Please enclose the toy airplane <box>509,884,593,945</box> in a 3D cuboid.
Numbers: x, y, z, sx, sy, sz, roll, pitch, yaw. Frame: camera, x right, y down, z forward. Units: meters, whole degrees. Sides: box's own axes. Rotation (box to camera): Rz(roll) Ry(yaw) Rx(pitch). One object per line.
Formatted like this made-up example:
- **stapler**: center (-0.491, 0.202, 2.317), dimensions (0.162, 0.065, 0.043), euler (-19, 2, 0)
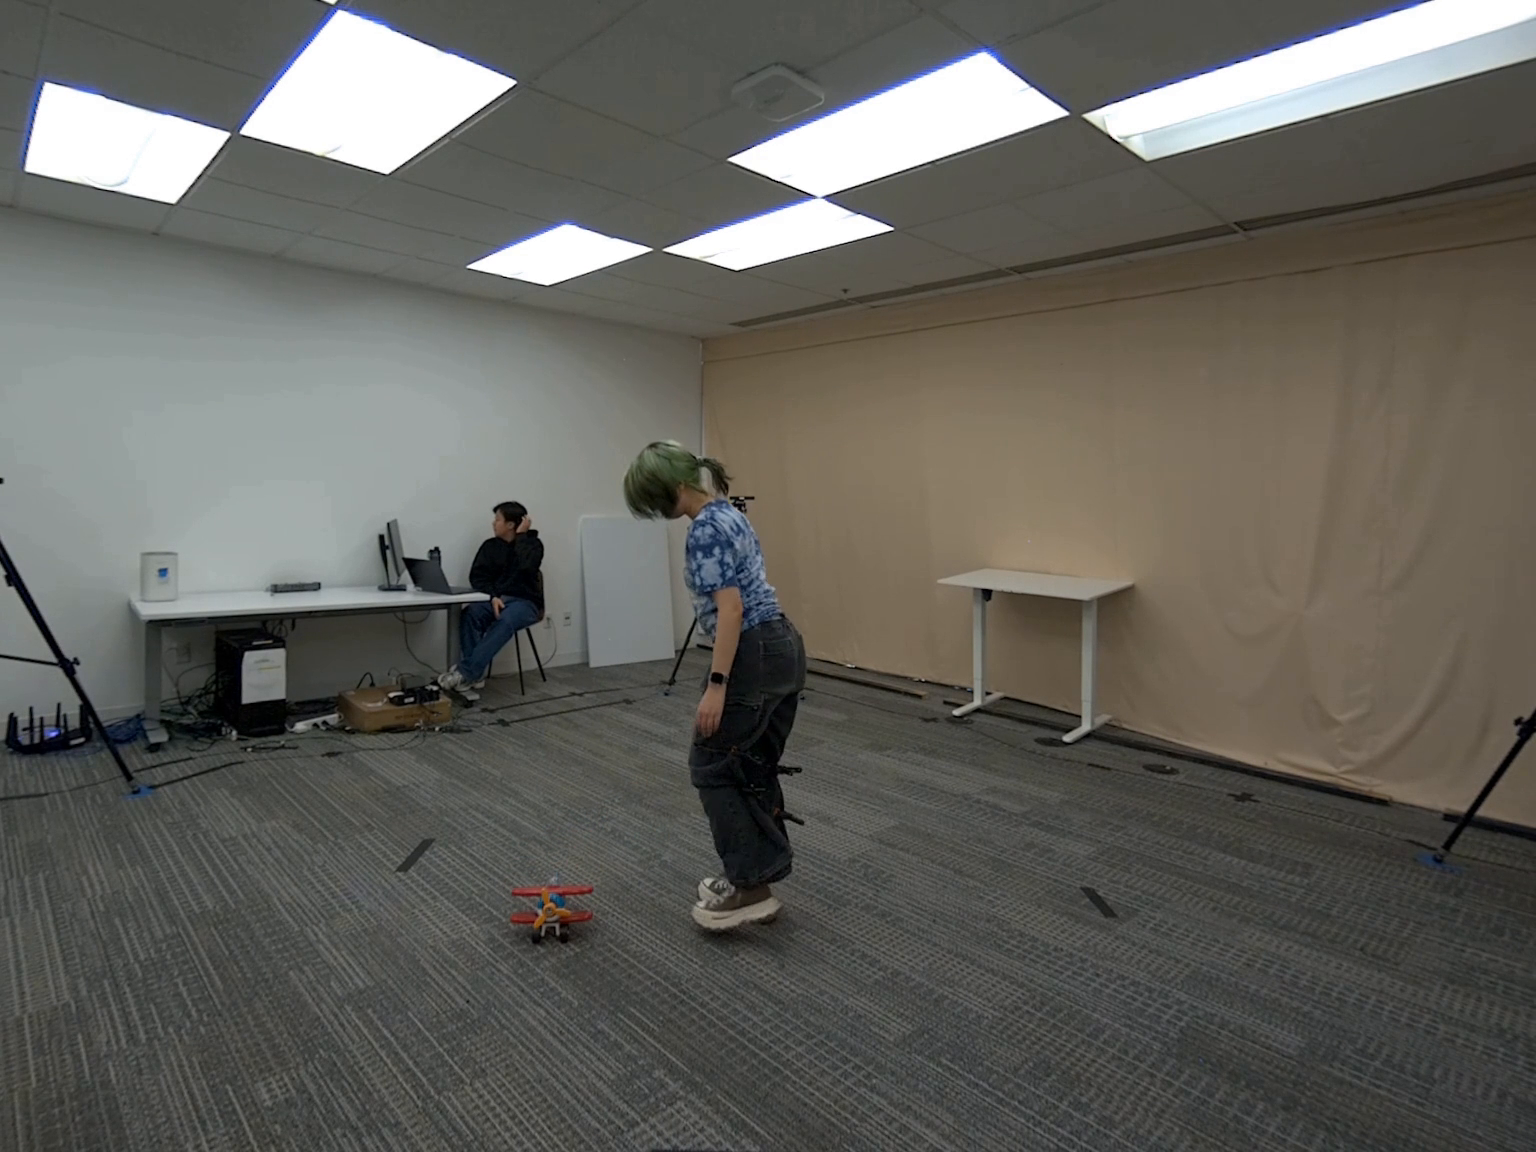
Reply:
- **toy airplane**: center (-0.709, 1.054, 2.699), dimensions (0.246, 0.156, 0.265), euler (-3, 7, -33)
